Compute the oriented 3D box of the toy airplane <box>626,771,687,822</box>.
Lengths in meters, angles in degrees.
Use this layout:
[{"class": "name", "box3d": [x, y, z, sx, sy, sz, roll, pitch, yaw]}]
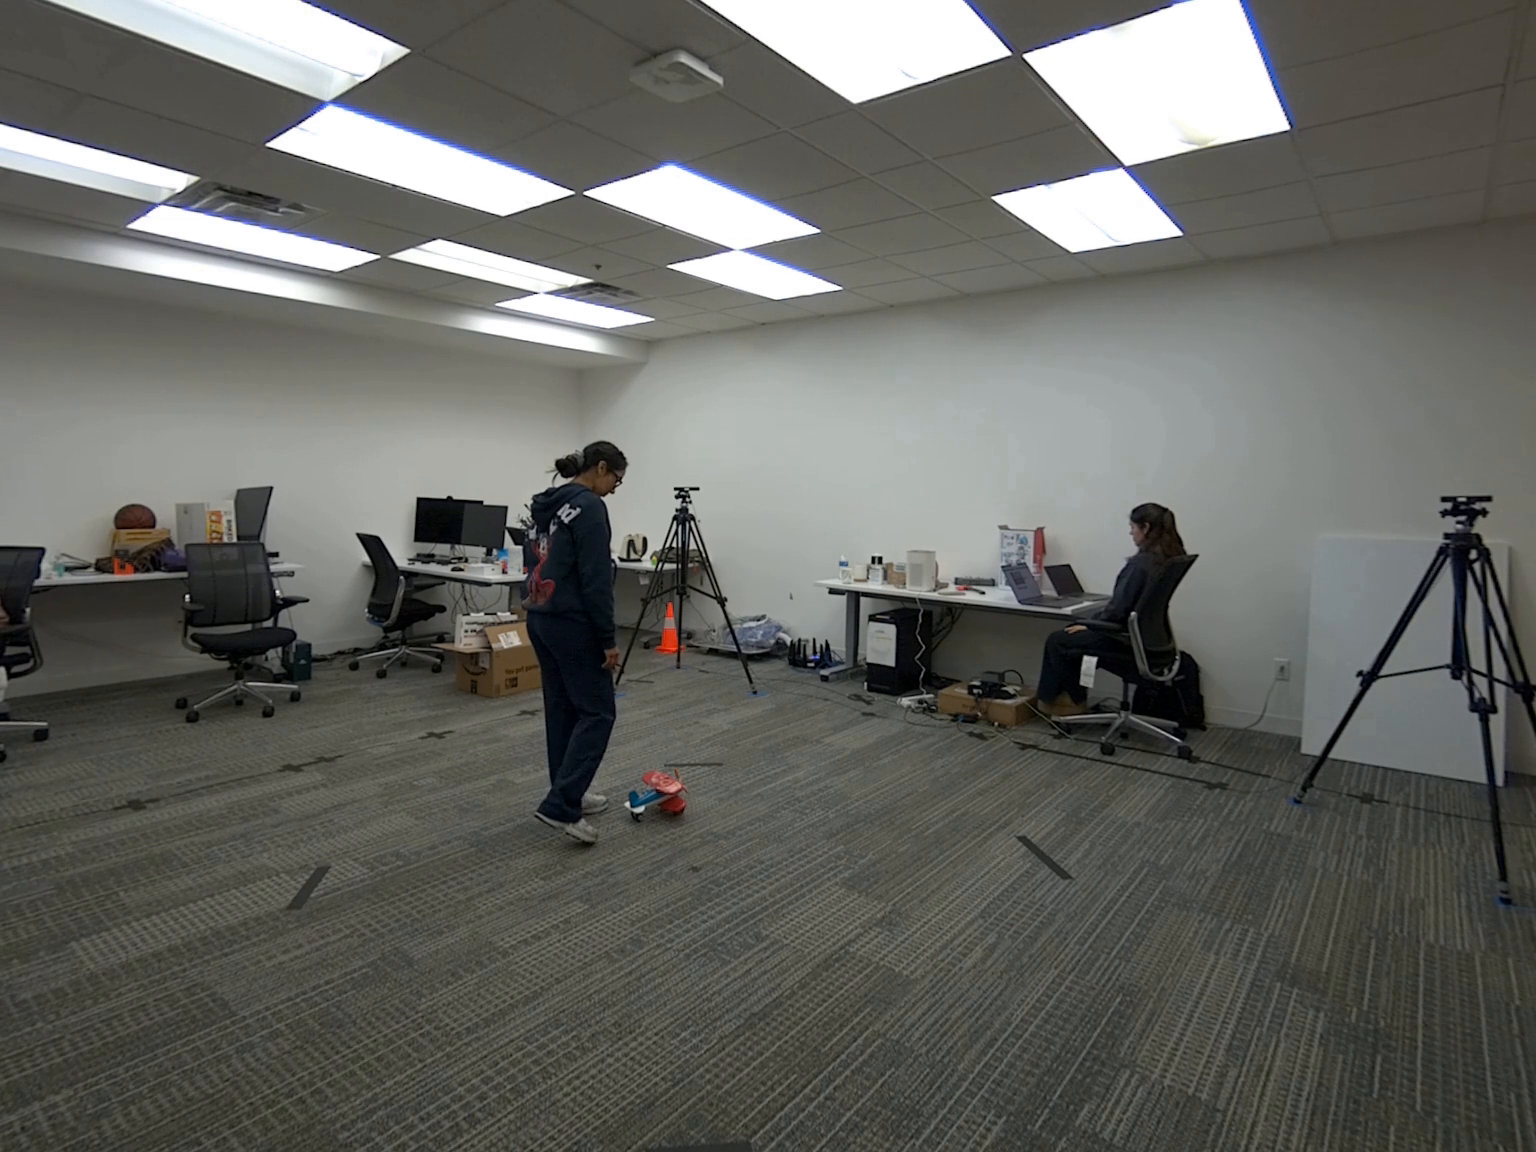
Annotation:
[{"class": "toy airplane", "box3d": [-0.471, 0.939, 3.600, 0.257, 0.156, 0.253, 3, 5, 24]}]
